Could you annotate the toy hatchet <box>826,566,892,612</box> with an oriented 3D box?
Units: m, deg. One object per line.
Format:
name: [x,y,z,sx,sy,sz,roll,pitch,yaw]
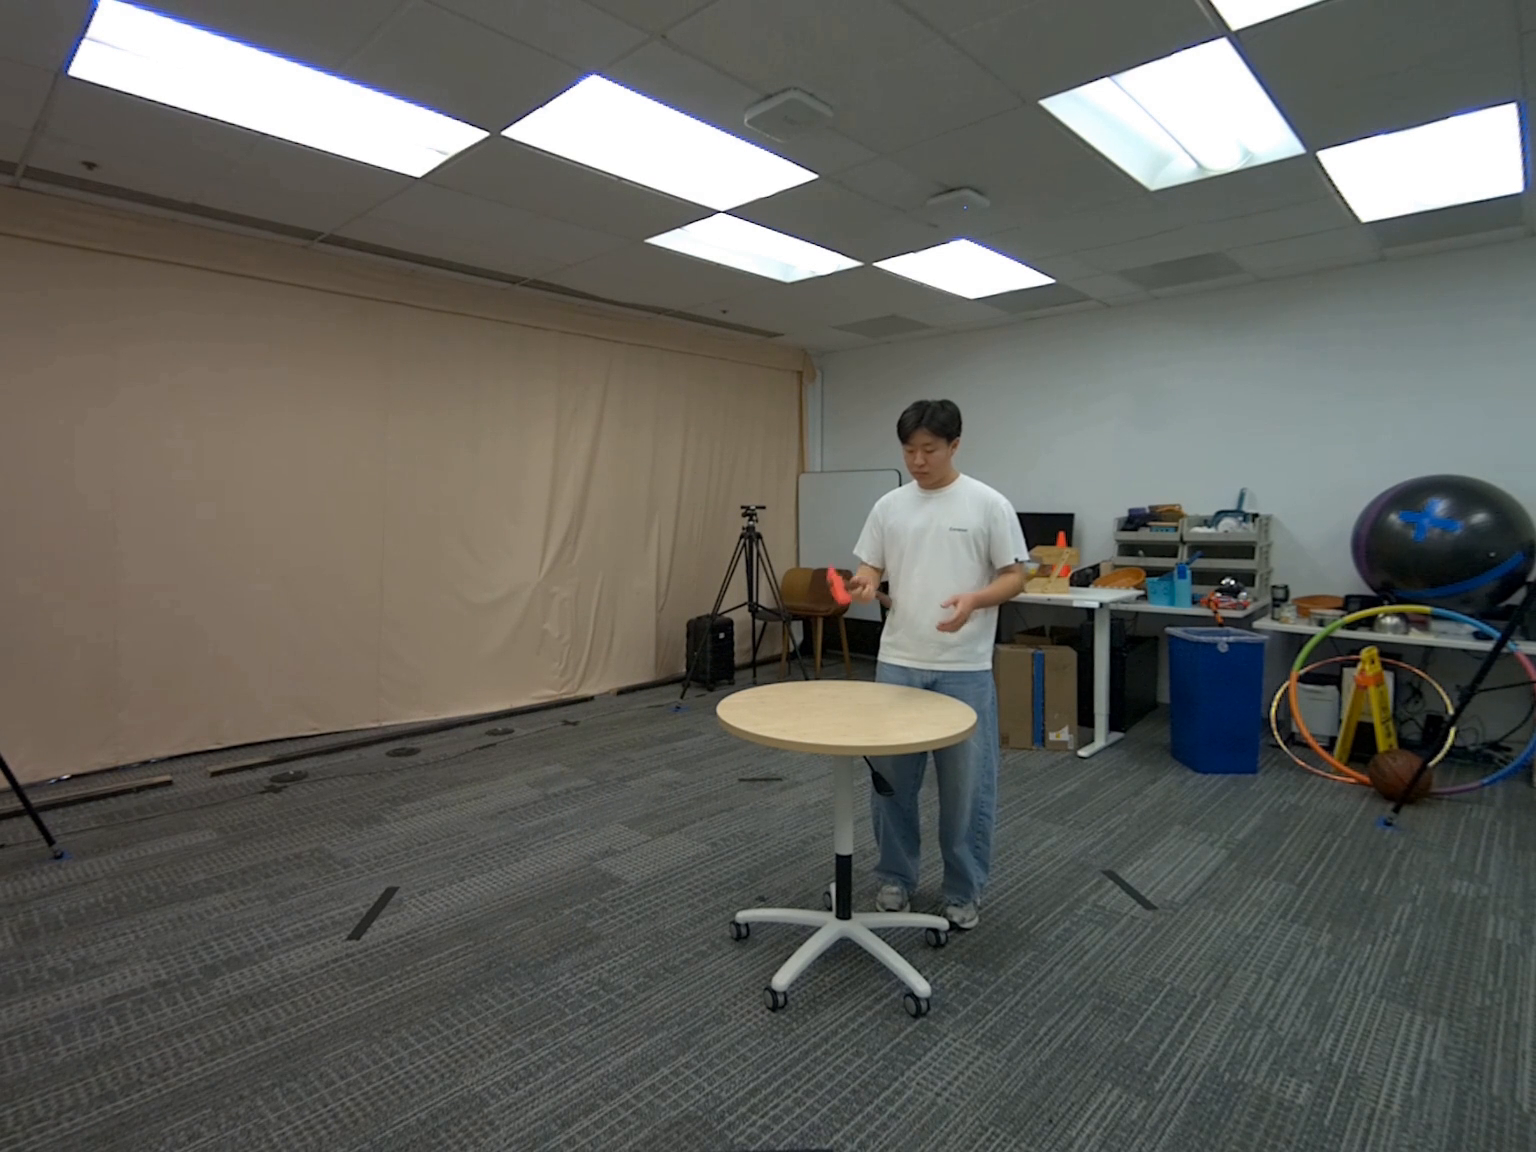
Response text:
toy hatchet: [0.323,0.070,2.680,0.263,0.132,0.030,30,-42,-23]
